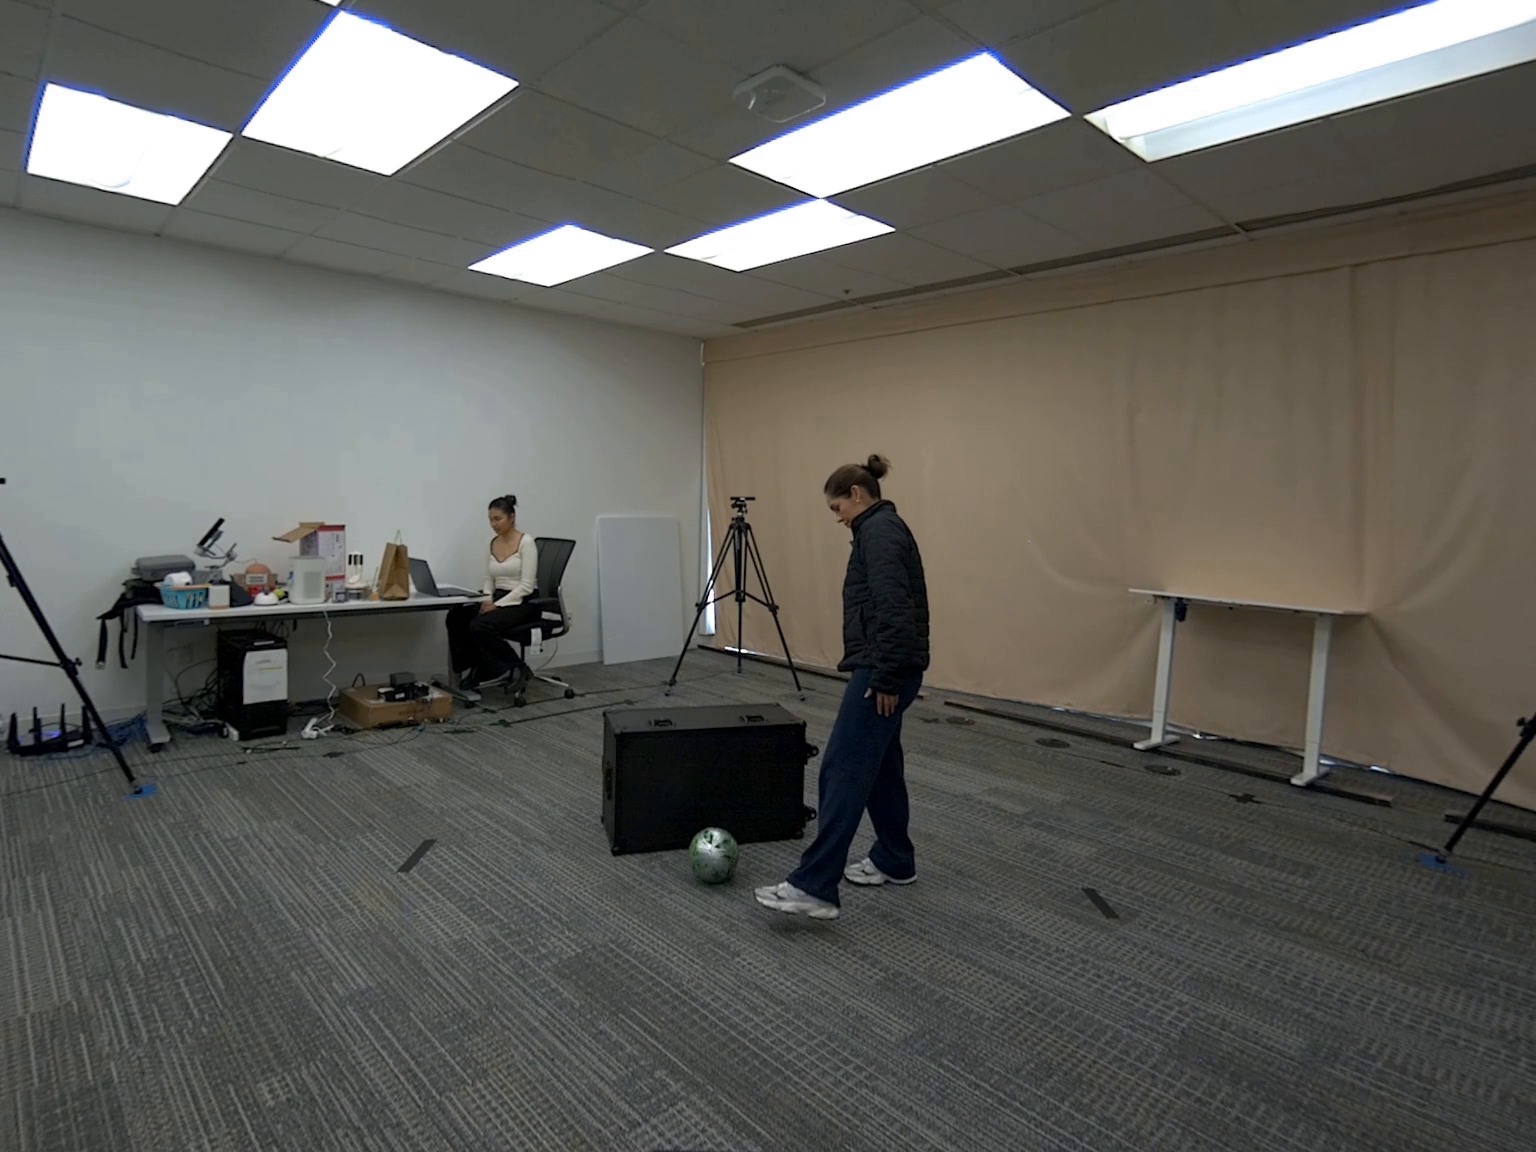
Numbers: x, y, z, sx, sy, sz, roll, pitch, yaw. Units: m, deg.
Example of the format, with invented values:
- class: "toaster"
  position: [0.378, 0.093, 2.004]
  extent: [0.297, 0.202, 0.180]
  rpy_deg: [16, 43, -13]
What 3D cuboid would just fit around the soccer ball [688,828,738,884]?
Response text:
- class: "soccer ball"
  position: [-0.209, 1.010, 3.060]
  extent: [0.187, 0.187, 0.188]
  rpy_deg: [1, 4, -1]
